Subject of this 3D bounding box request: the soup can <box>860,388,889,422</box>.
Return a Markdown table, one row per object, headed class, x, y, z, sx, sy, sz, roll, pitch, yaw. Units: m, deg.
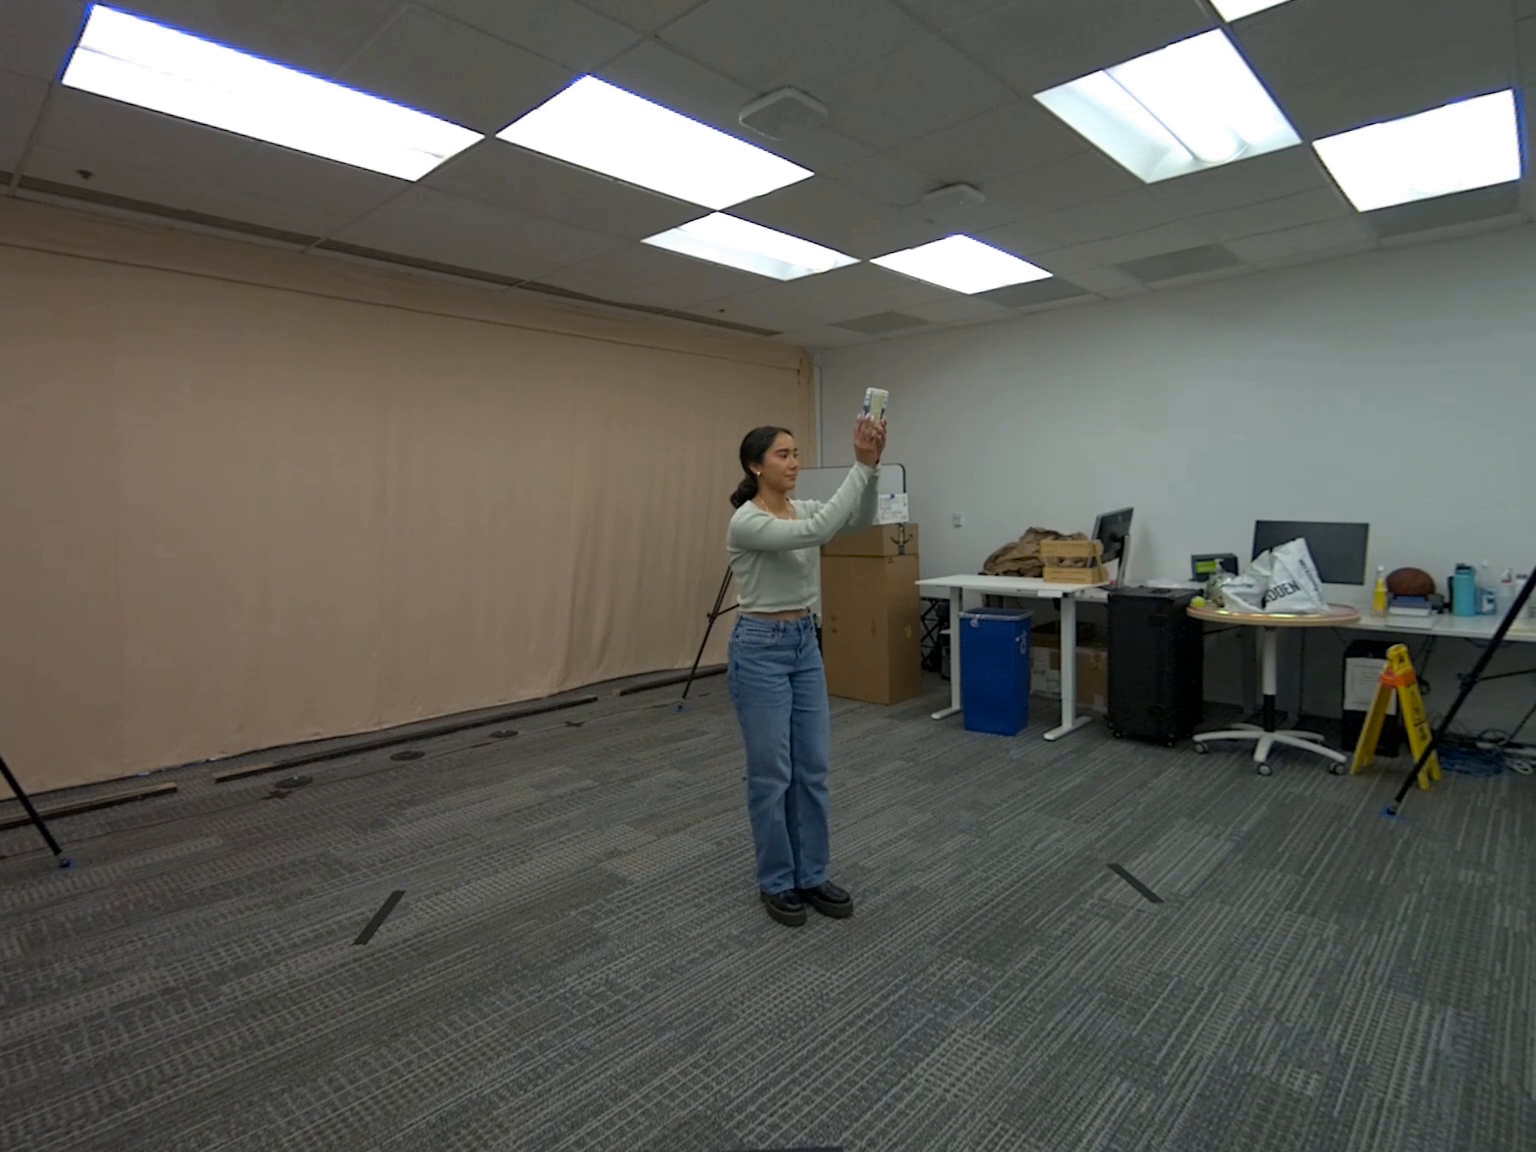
| class | x | y | z | sx | sy | sz | roll | pitch | yaw |
| --- | --- | --- | --- | --- | --- | --- | --- | --- | --- |
| soup can | 0.319 | -0.504 | 2.542 | 0.067 | 0.121 | 0.067 | 7 | 7 | -3 |
